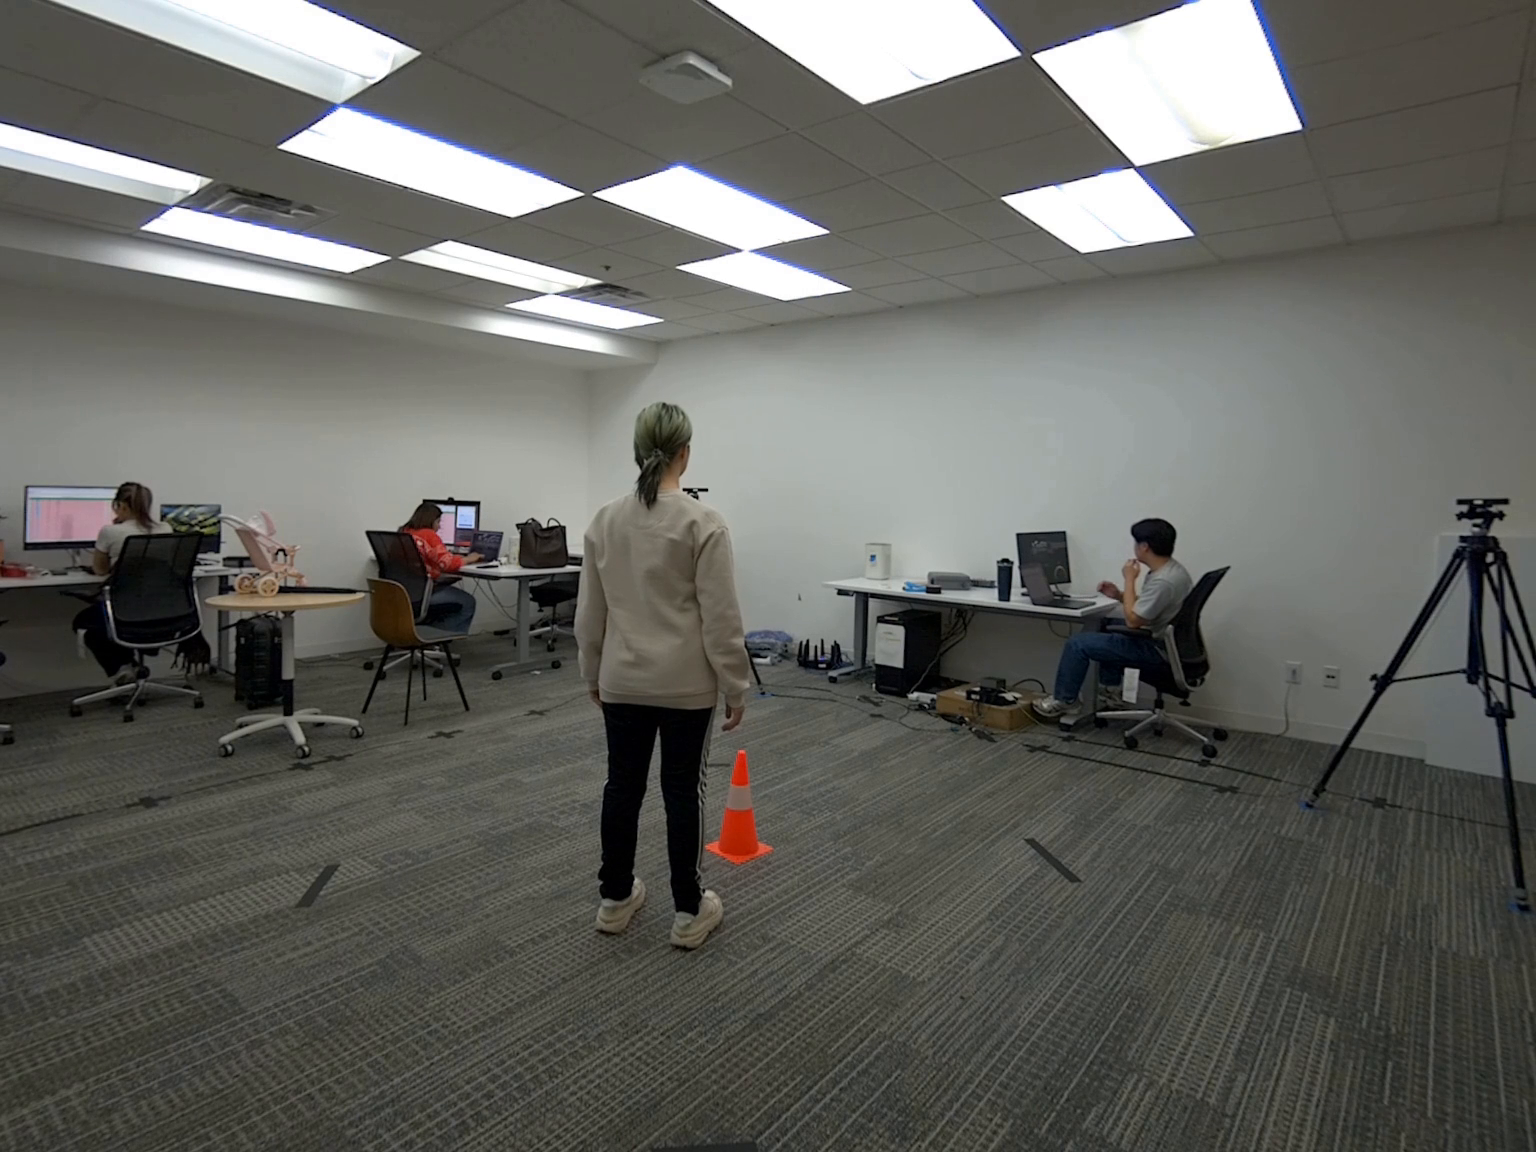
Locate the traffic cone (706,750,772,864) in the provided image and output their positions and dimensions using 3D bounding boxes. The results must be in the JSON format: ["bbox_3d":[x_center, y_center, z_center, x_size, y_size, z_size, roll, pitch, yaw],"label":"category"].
[{"bbox_3d":[-0.120,0.871,3.285,0.197,0.382,0.212,-3,6,-42],"label":"traffic cone"}]
